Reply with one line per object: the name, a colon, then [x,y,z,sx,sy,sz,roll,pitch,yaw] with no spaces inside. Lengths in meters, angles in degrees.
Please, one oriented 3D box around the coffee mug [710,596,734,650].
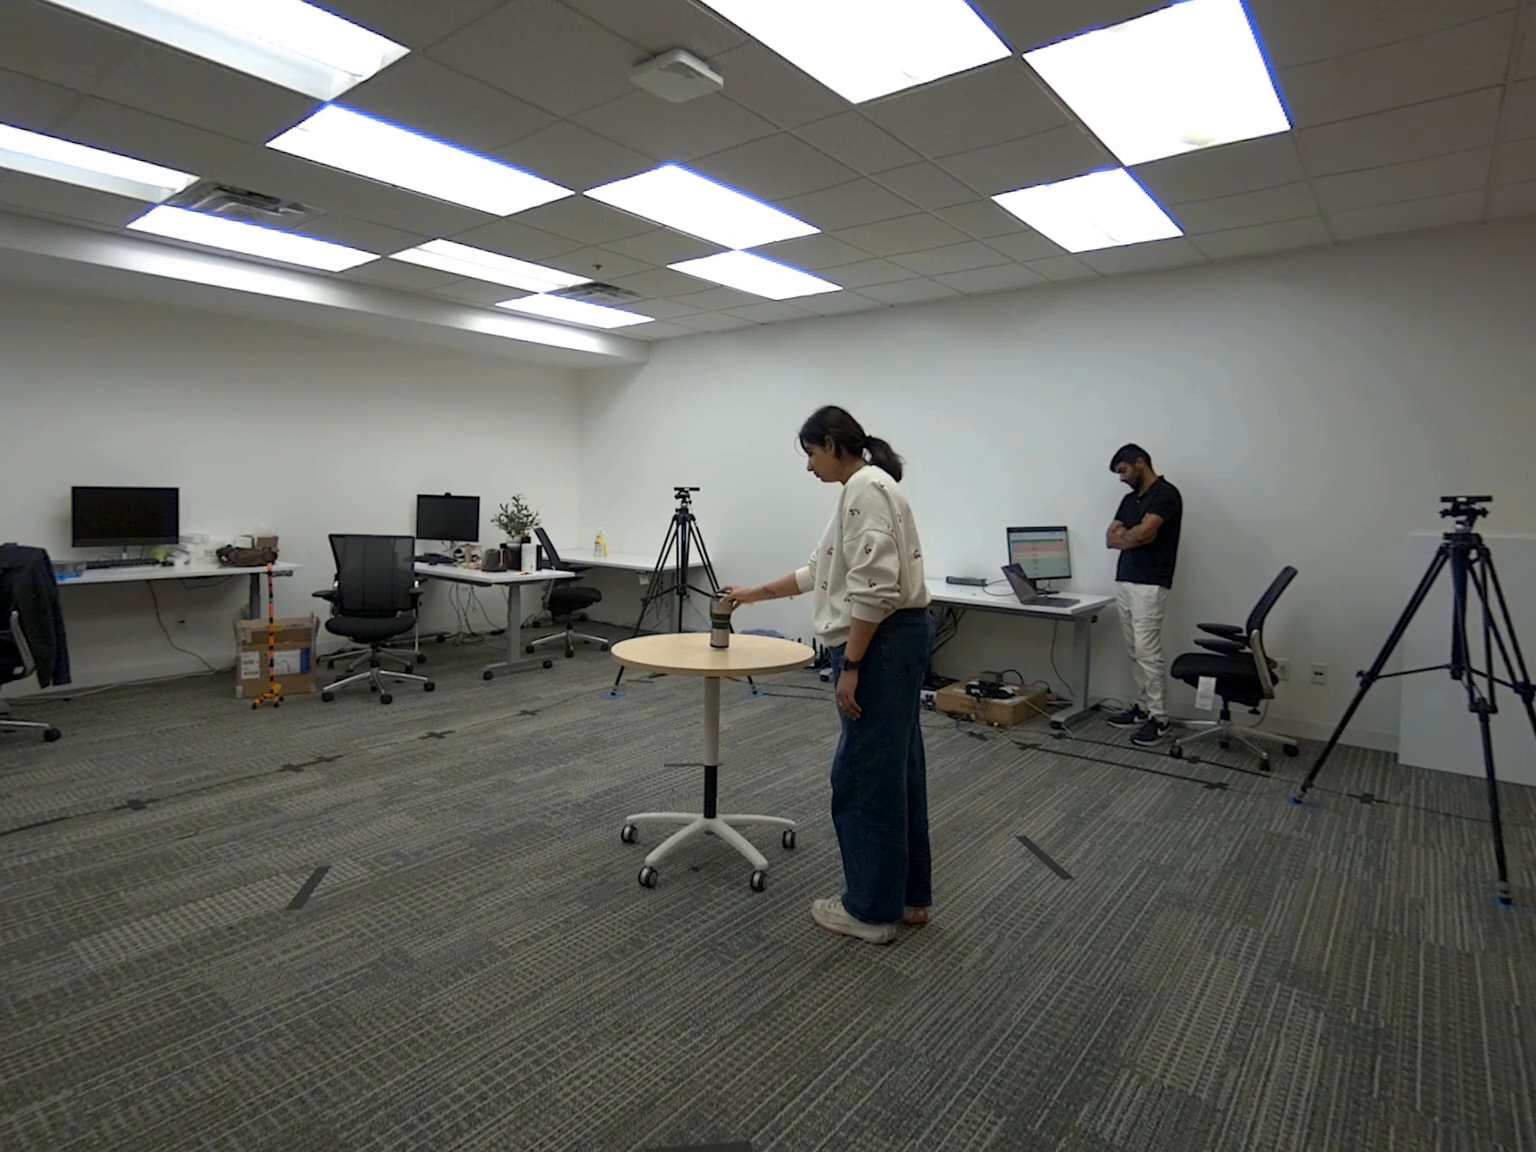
coffee mug: [-0.172,0.165,3.214,0.090,0.202,0.119,3,7,32]
